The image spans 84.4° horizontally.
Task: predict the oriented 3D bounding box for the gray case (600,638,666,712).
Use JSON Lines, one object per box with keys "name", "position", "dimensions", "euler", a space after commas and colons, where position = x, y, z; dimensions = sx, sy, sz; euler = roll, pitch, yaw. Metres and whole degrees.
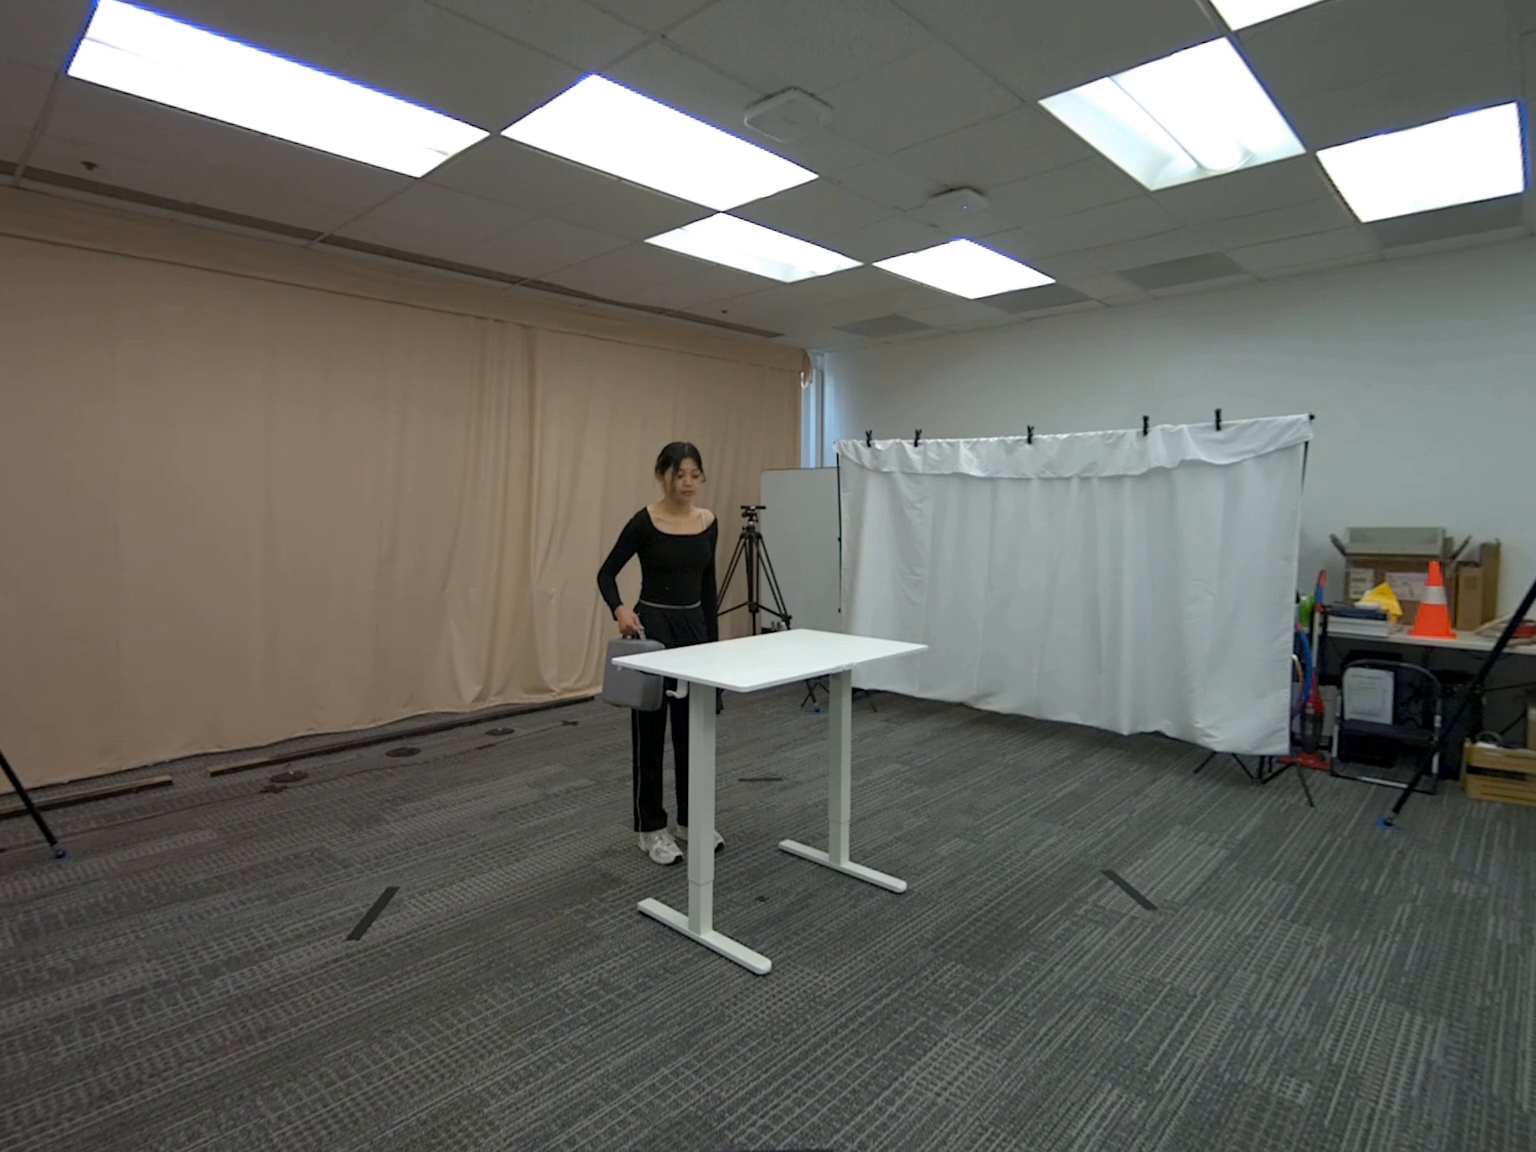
{"name": "gray case", "position": [-0.502, 0.361, 3.164], "dimensions": [0.101, 0.261, 0.265], "euler": [7, -5, -45]}
